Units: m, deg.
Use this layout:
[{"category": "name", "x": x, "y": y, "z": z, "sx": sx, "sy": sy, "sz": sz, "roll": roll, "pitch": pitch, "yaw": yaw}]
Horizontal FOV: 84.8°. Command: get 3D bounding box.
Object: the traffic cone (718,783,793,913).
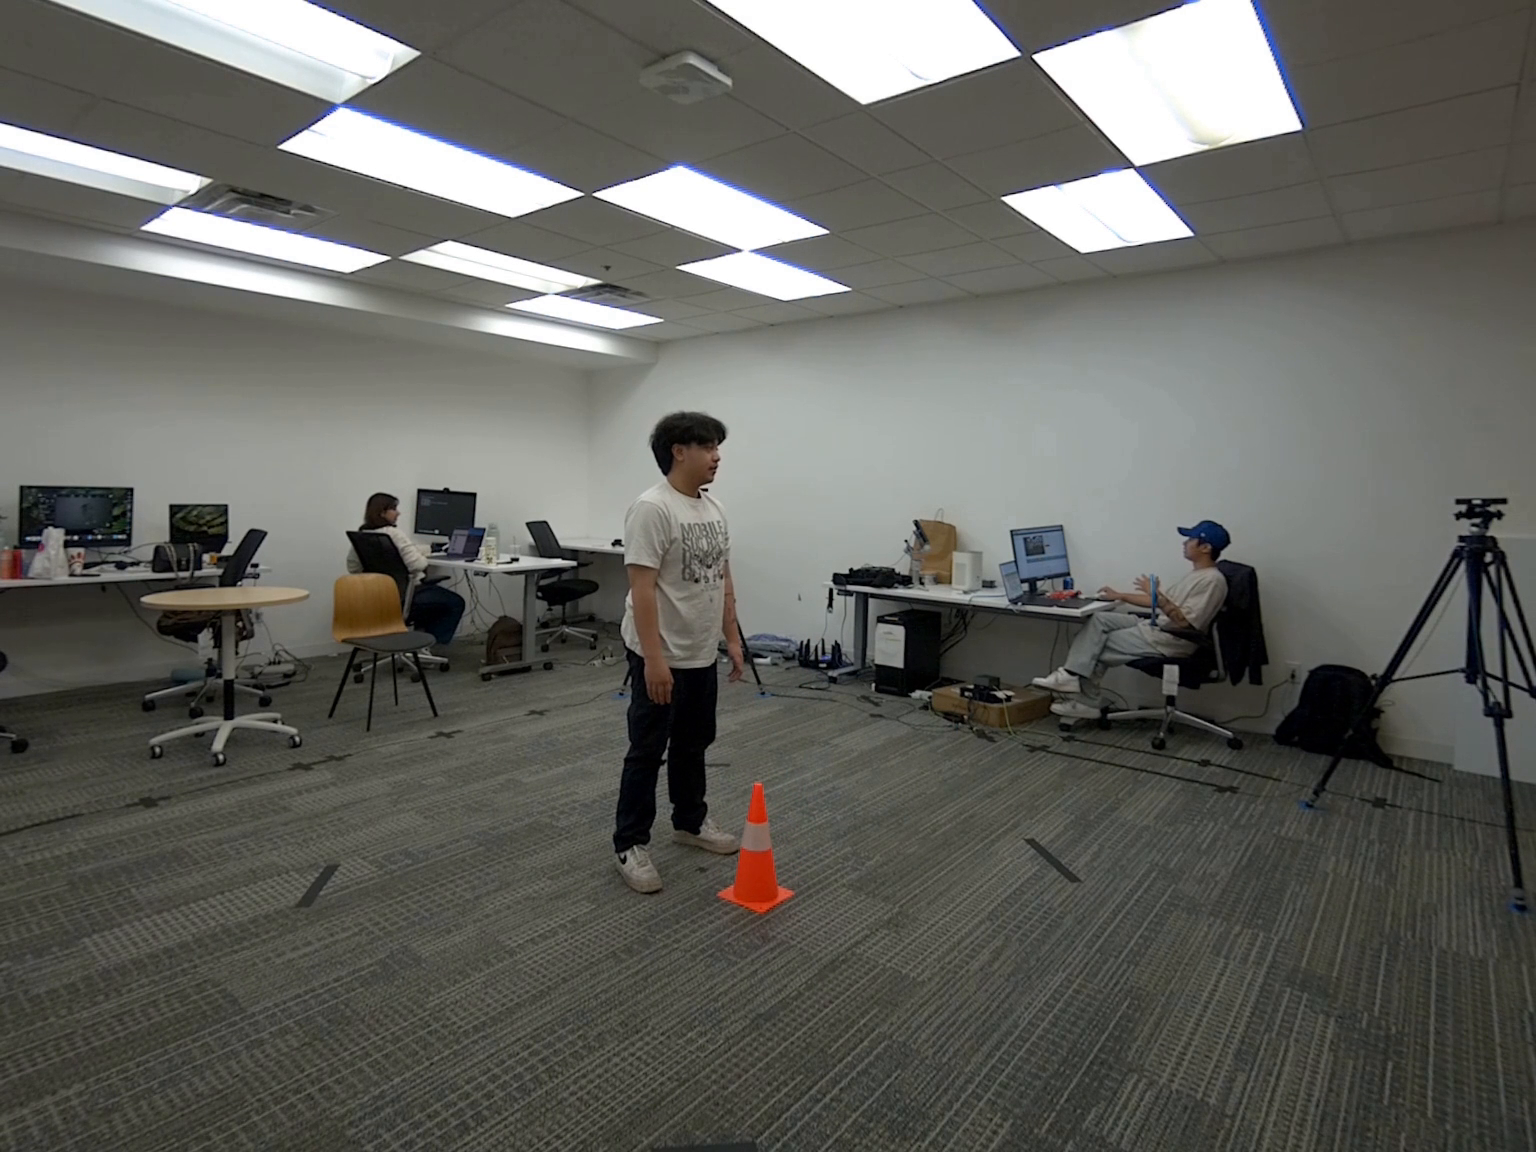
[{"category": "traffic cone", "x": -0.040, "y": 0.907, "z": 2.921, "sx": 0.209, "sy": 0.383, "sz": 0.199, "roll": 4, "pitch": 3, "yaw": 31}]
